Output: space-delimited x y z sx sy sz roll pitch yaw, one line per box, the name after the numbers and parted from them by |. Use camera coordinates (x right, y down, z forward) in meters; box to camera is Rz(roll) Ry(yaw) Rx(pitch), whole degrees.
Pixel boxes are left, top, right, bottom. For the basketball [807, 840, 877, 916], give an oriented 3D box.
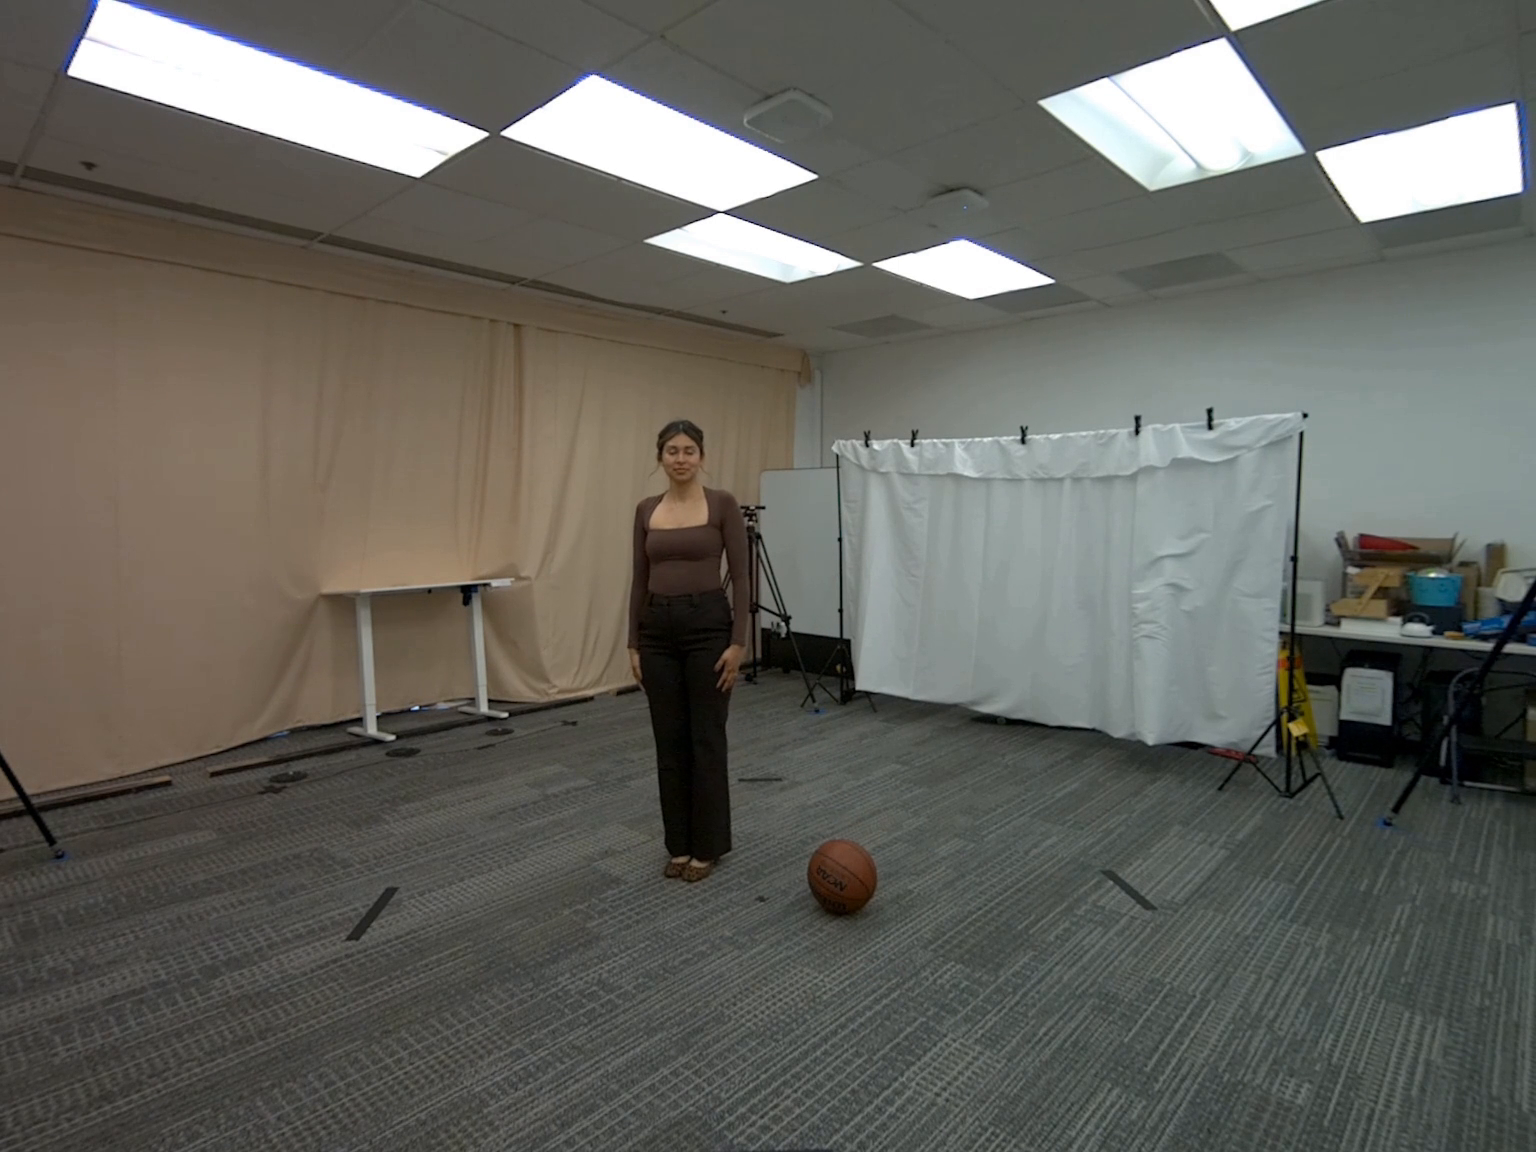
0.262 1.027 2.898 0.236 0.235 0.237 0 4 -2 | basketball
